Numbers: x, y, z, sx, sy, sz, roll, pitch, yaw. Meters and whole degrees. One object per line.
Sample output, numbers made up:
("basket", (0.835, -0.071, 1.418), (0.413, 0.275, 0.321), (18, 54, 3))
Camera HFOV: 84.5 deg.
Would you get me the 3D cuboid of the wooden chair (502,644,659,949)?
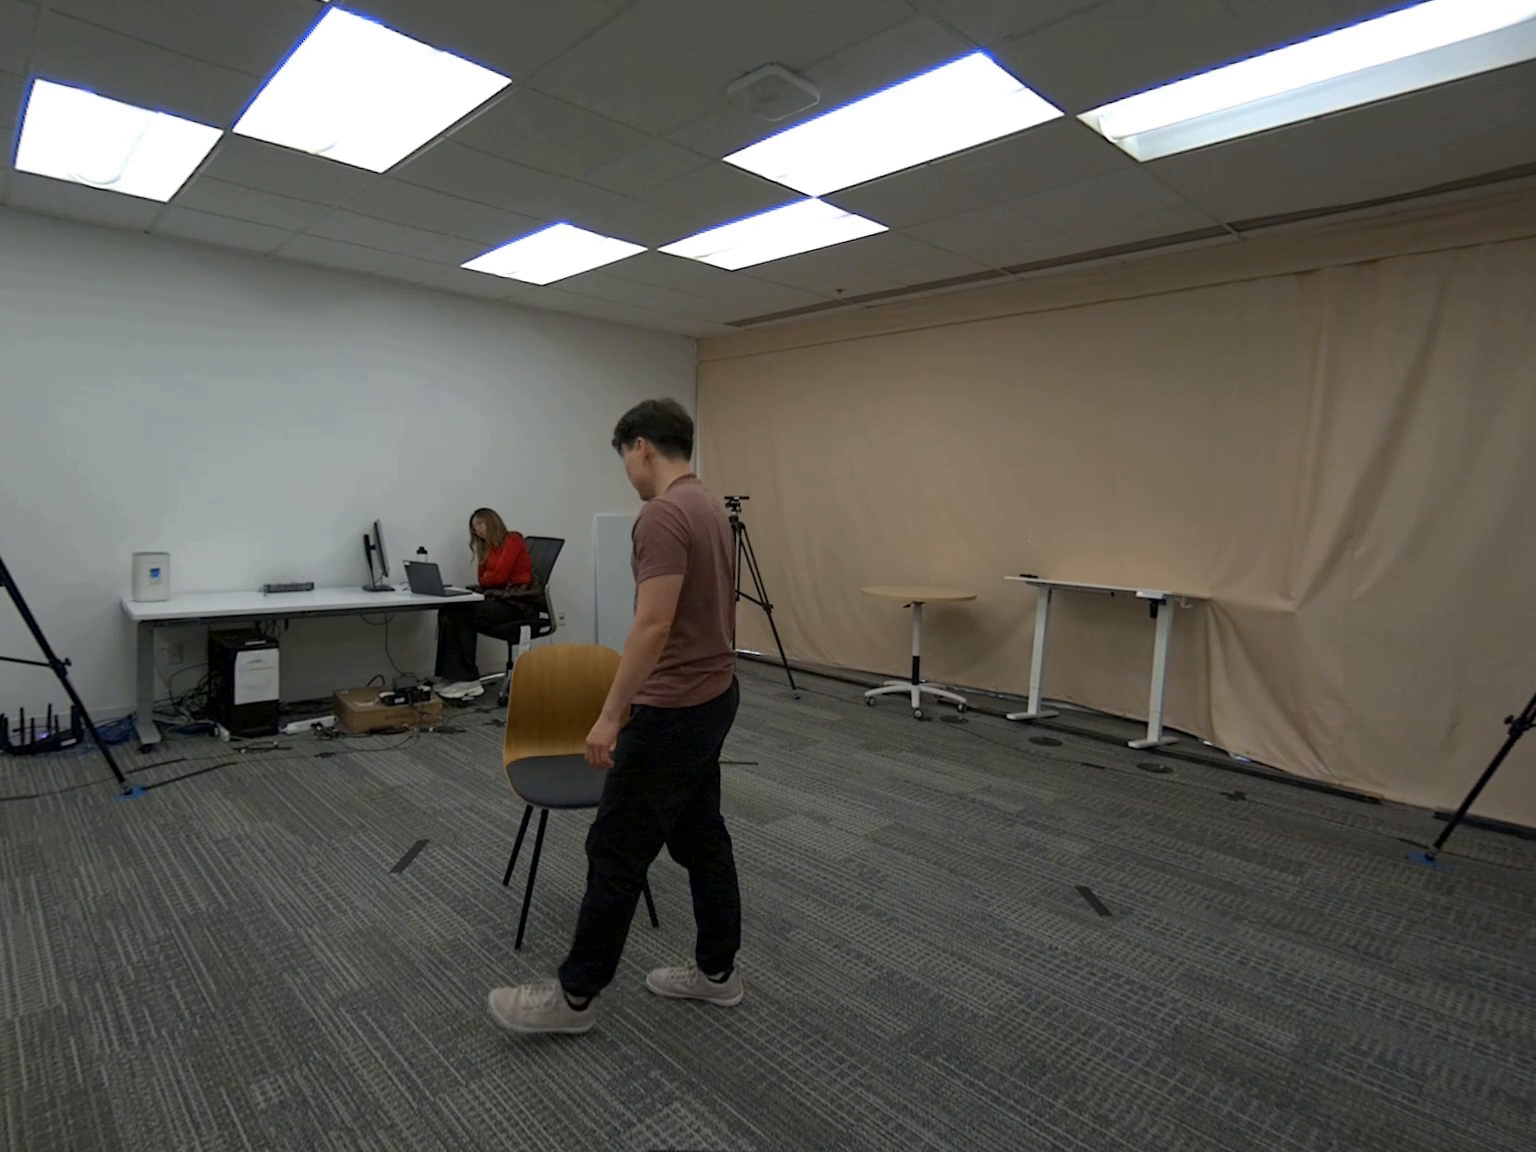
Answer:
("wooden chair", (-0.634, 0.694, 2.811), (0.470, 0.878, 0.531), (0, 0, -22))
